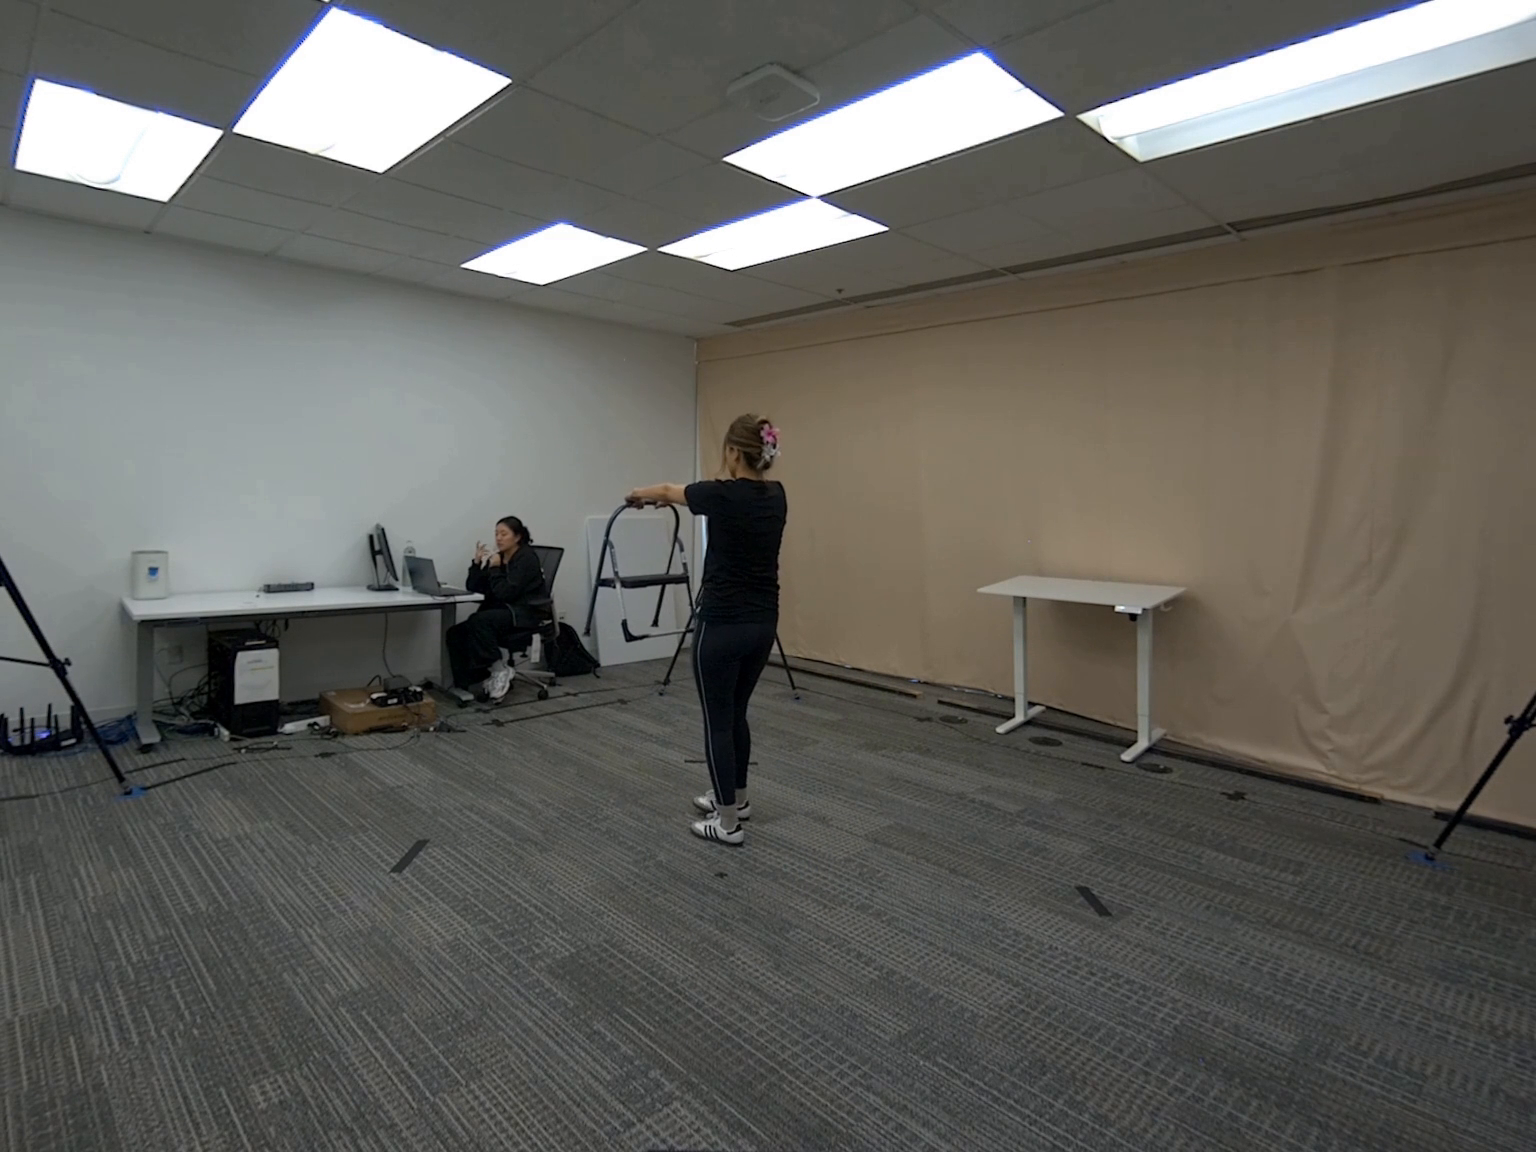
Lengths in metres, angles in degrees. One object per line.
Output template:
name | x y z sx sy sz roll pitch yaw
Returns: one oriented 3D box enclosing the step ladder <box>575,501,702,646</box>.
step ladder | -0.581 -0.036 3.817 0.358 0.605 0.421 2 4 43
